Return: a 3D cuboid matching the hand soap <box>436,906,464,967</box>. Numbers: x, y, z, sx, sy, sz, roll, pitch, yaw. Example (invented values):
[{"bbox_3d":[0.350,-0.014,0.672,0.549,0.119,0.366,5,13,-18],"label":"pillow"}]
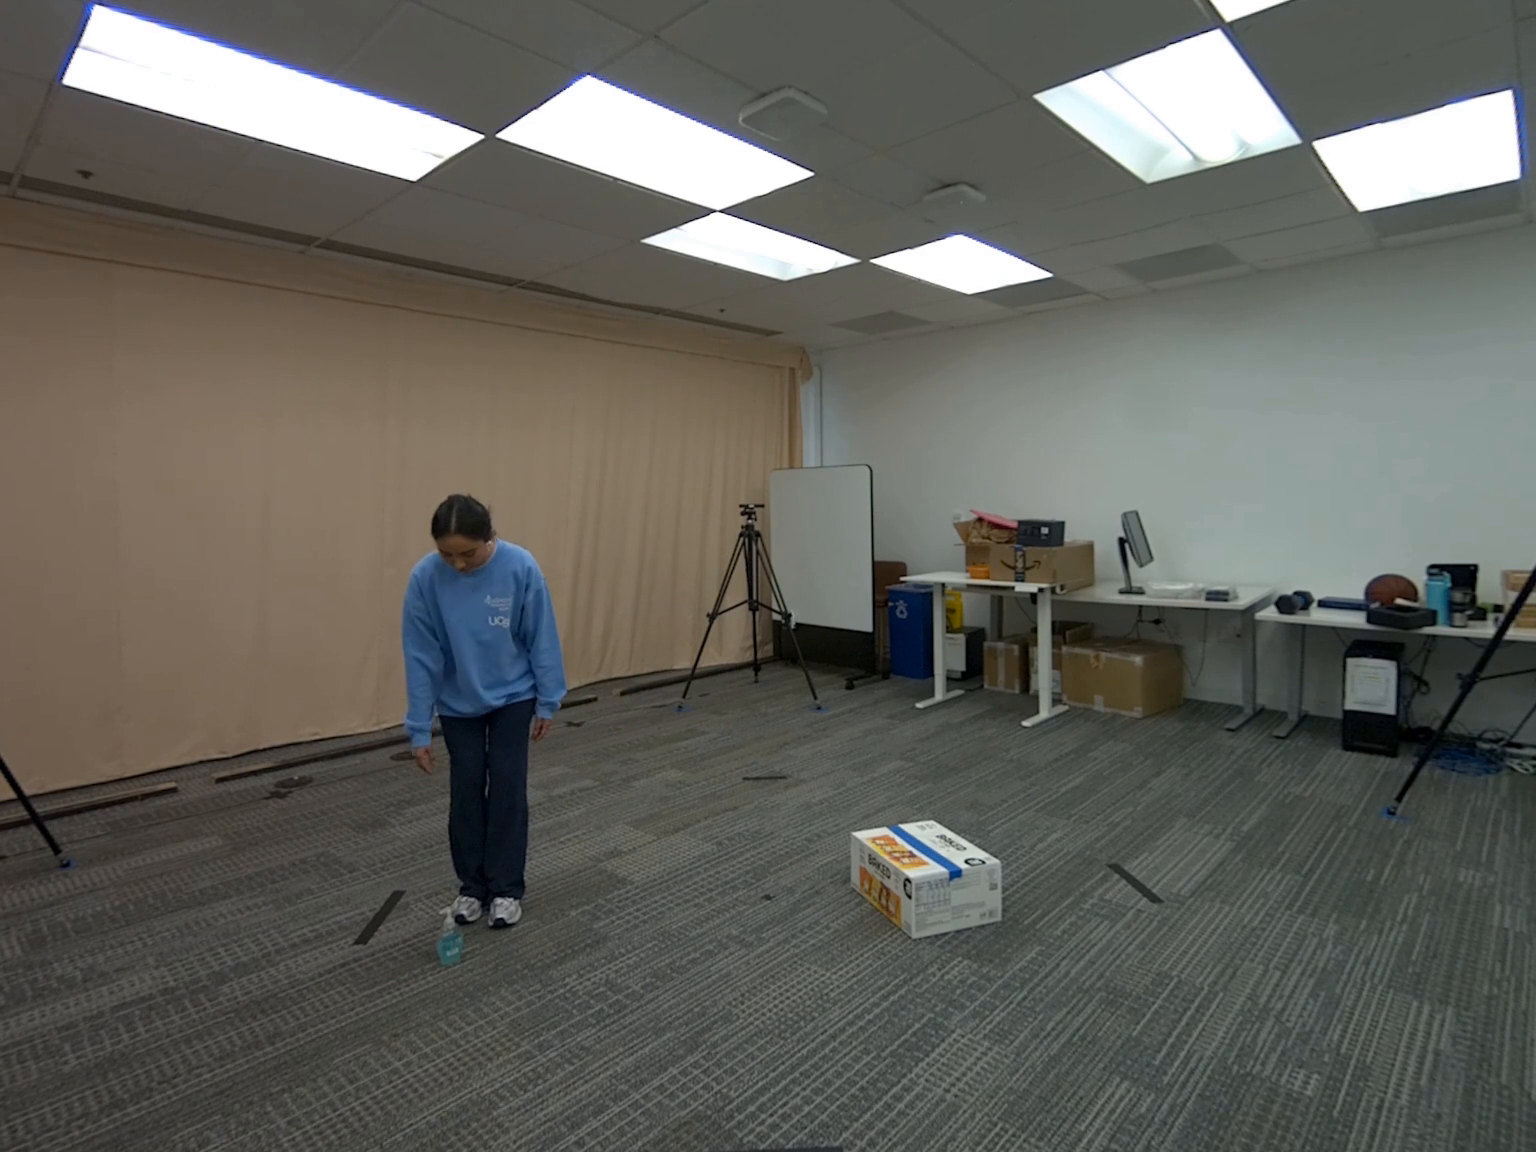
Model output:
[{"bbox_3d":[-0.984,1.104,2.607,0.045,0.168,0.082,0,3,39],"label":"hand soap"}]
